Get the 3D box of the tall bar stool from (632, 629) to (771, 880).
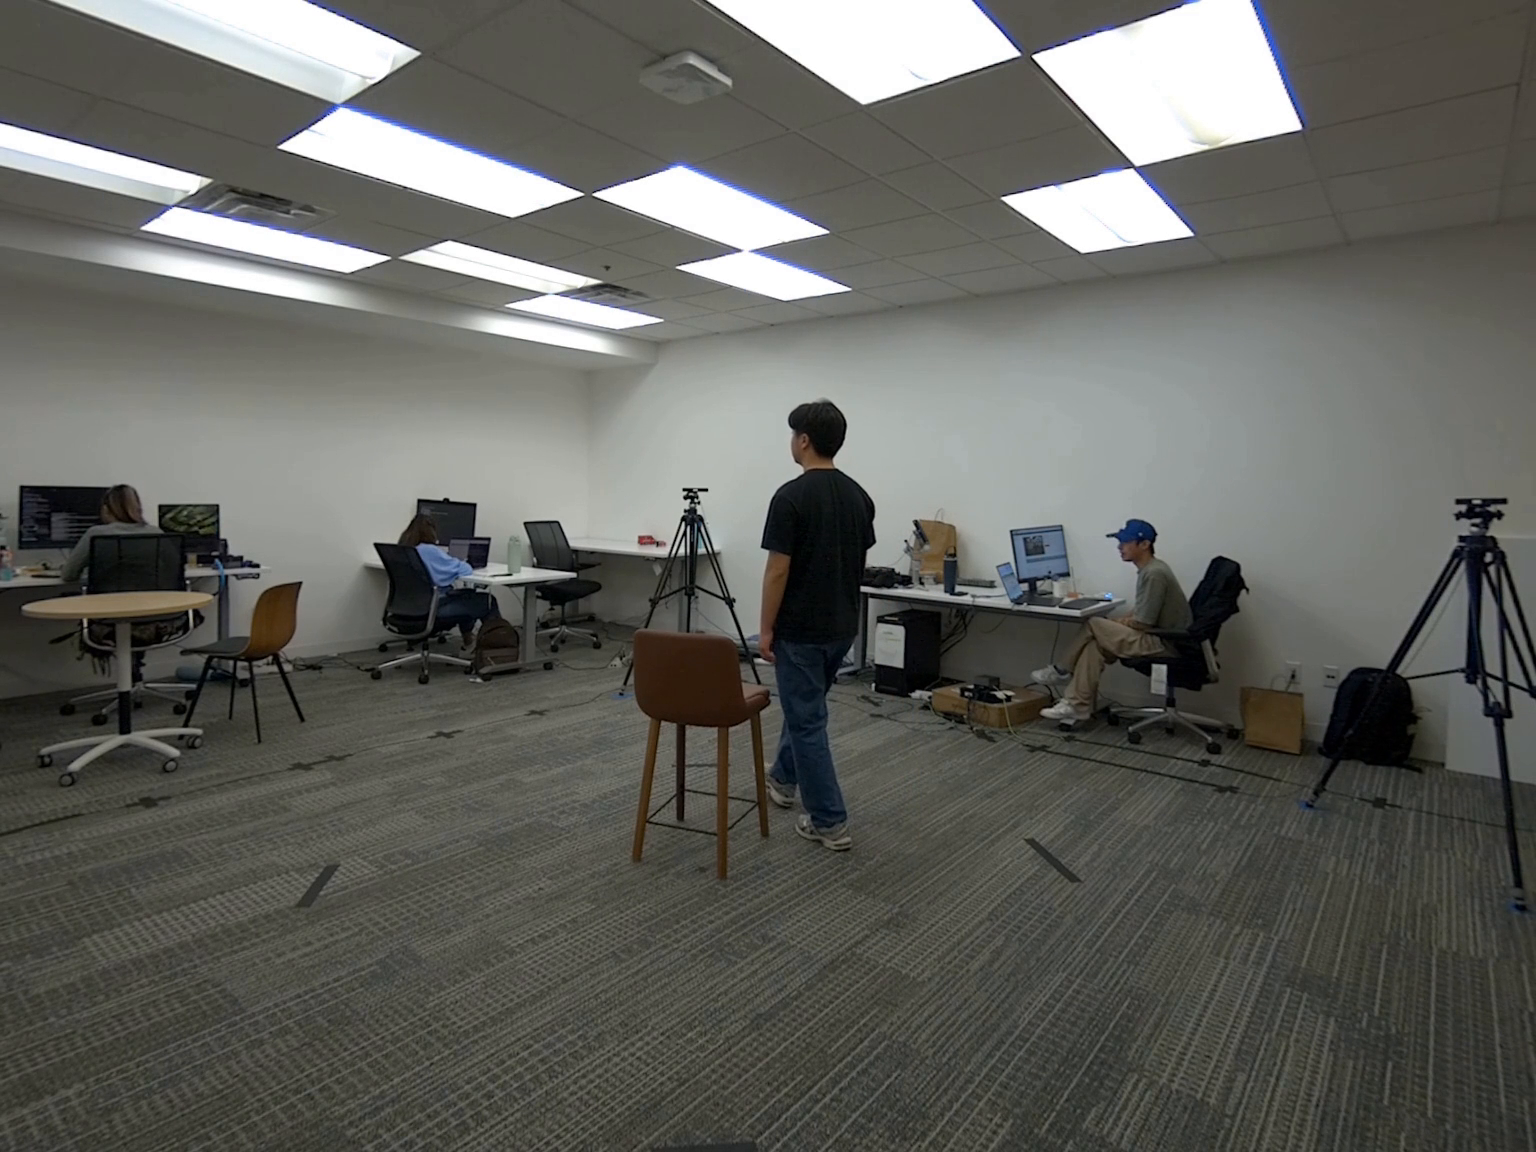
[{"bbox_3d":[-0.264,0.618,3.282,0.467,0.886,0.459,2,4,22],"label":"tall bar stool"}]
